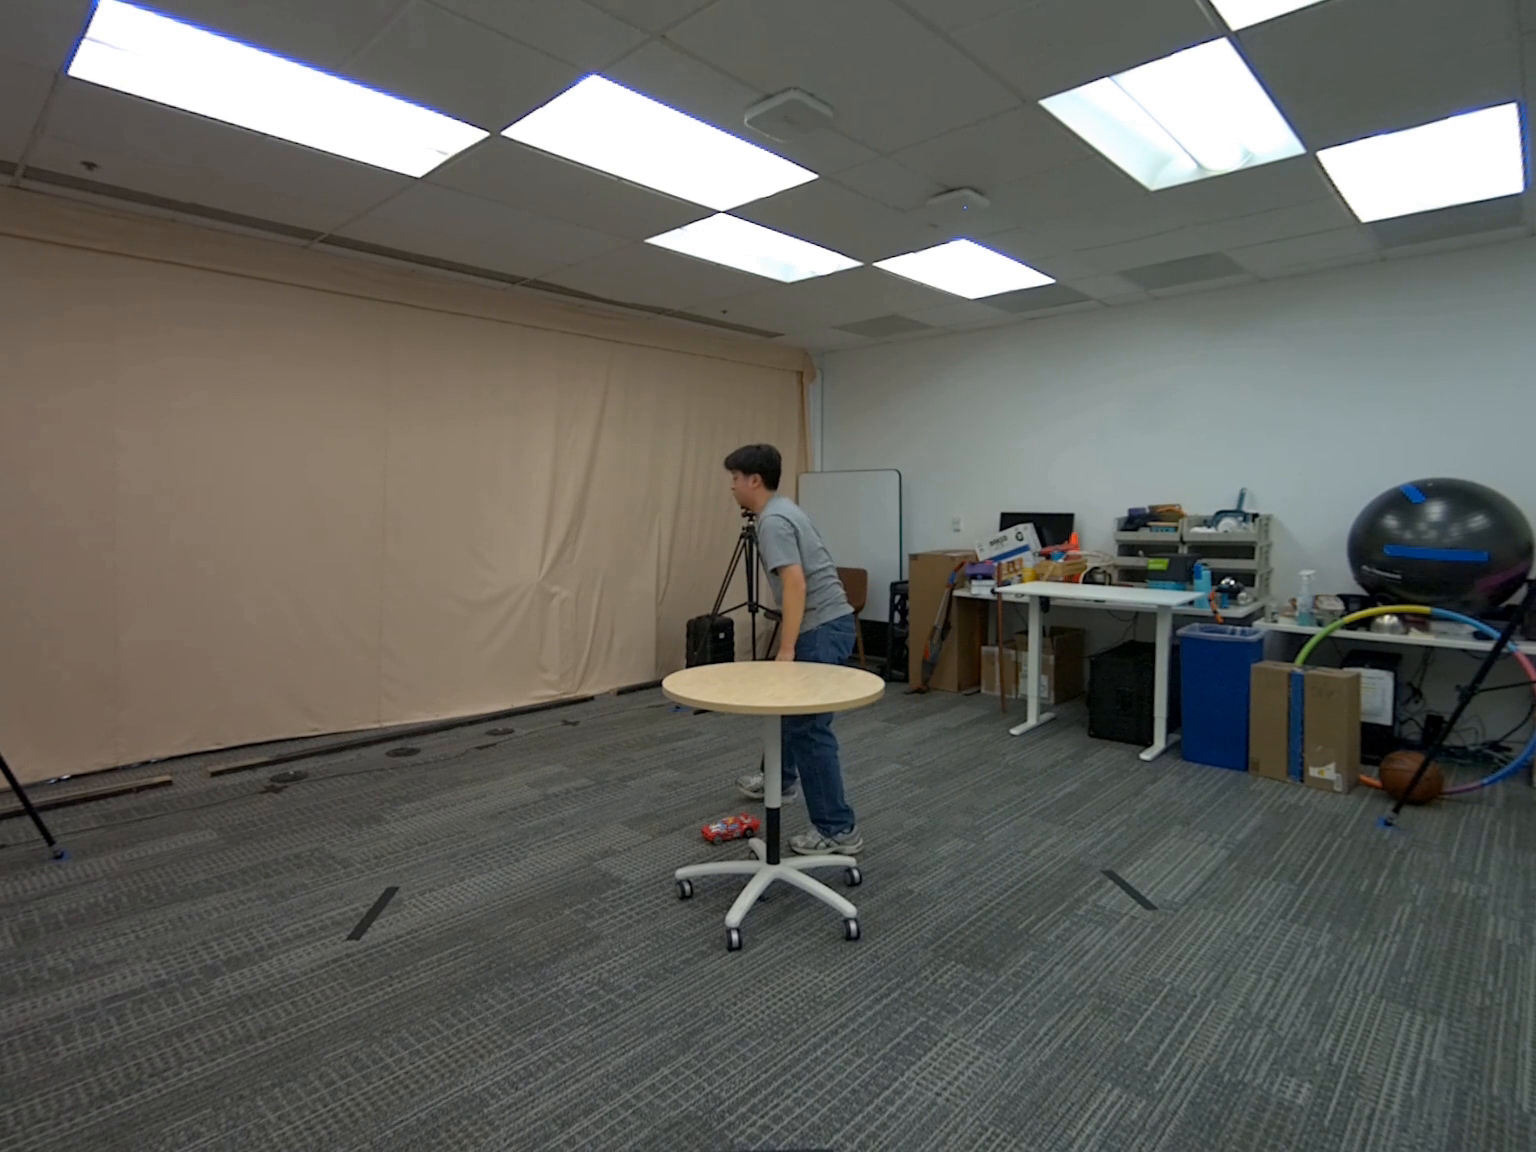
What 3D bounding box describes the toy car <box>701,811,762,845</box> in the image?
[{"bbox_3d":[-0.153,1.069,3.548,0.249,0.083,0.134,-15,10,-25],"label":"toy car"}]
